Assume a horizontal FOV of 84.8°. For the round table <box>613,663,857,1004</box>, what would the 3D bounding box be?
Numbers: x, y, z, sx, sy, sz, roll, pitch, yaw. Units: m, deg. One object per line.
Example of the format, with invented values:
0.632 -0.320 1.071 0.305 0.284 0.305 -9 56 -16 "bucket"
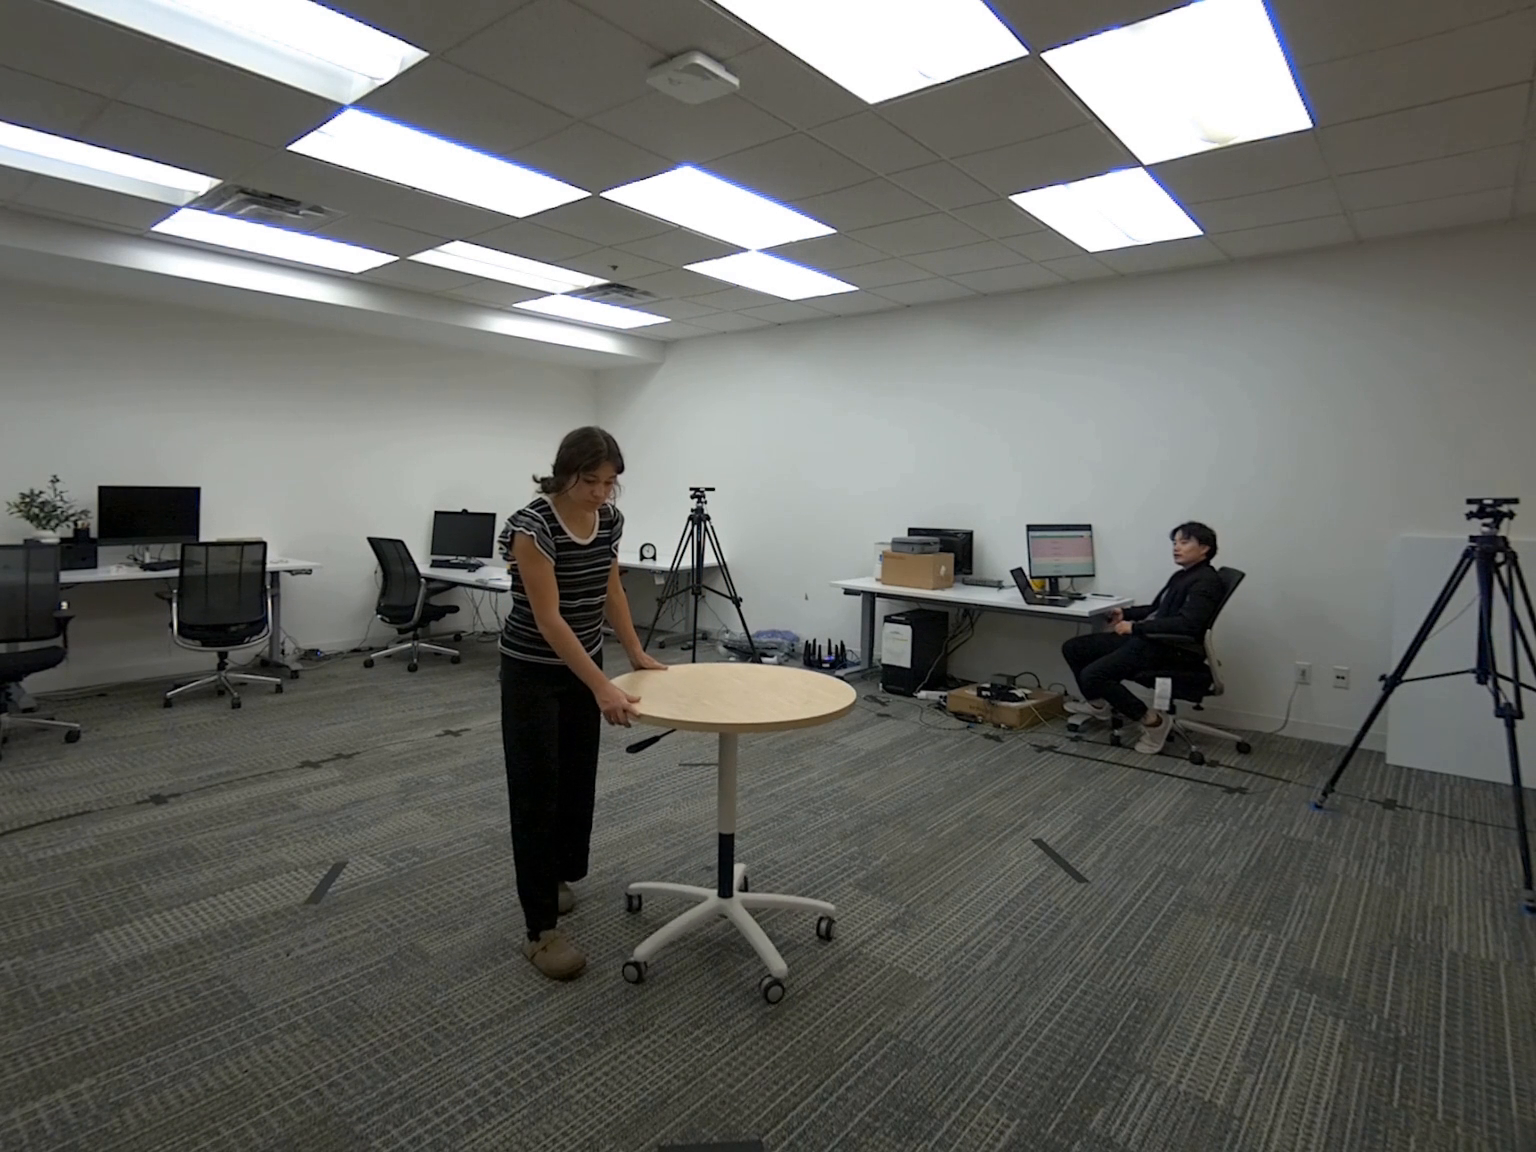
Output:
-0.133 0.733 2.602 0.763 0.791 0.768 1 4 -2 "round table"
